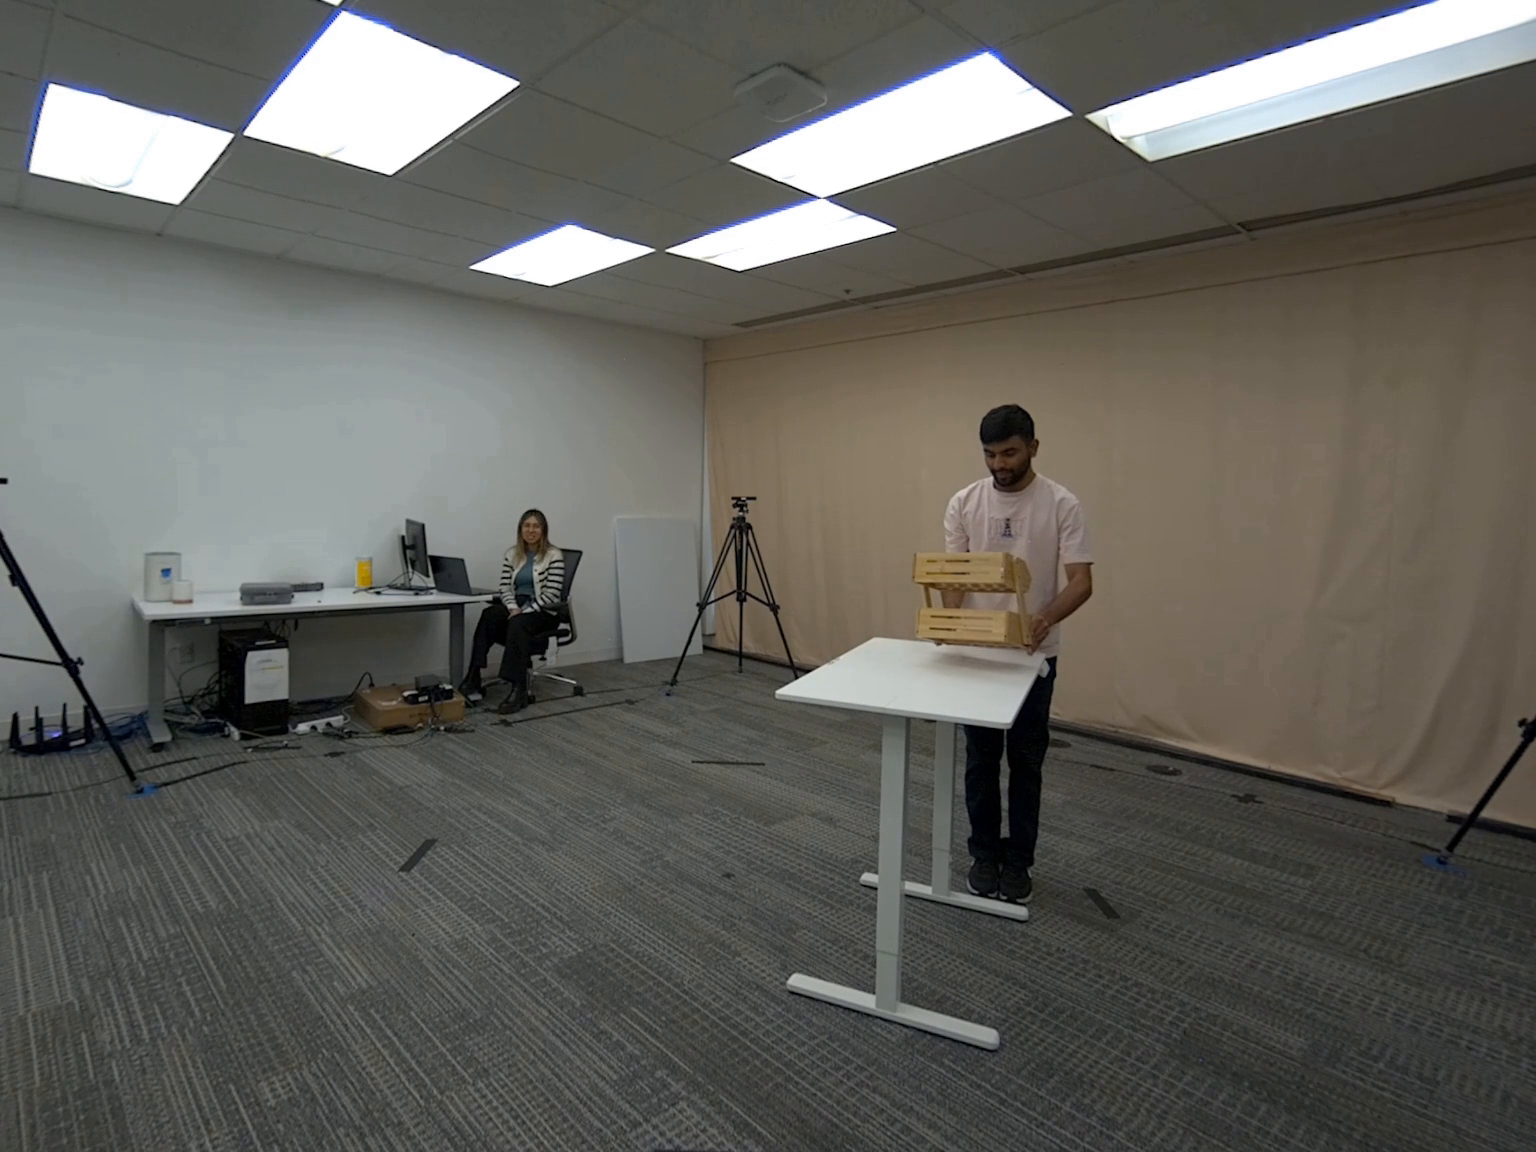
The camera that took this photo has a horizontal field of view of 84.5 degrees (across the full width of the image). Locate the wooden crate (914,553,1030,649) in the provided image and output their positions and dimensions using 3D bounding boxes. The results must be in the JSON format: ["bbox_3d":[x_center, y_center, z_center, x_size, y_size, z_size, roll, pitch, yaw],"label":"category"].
[{"bbox_3d":[0.656,0.079,2.659,0.332,0.275,0.293,-1,-10,40],"label":"wooden crate"}]
